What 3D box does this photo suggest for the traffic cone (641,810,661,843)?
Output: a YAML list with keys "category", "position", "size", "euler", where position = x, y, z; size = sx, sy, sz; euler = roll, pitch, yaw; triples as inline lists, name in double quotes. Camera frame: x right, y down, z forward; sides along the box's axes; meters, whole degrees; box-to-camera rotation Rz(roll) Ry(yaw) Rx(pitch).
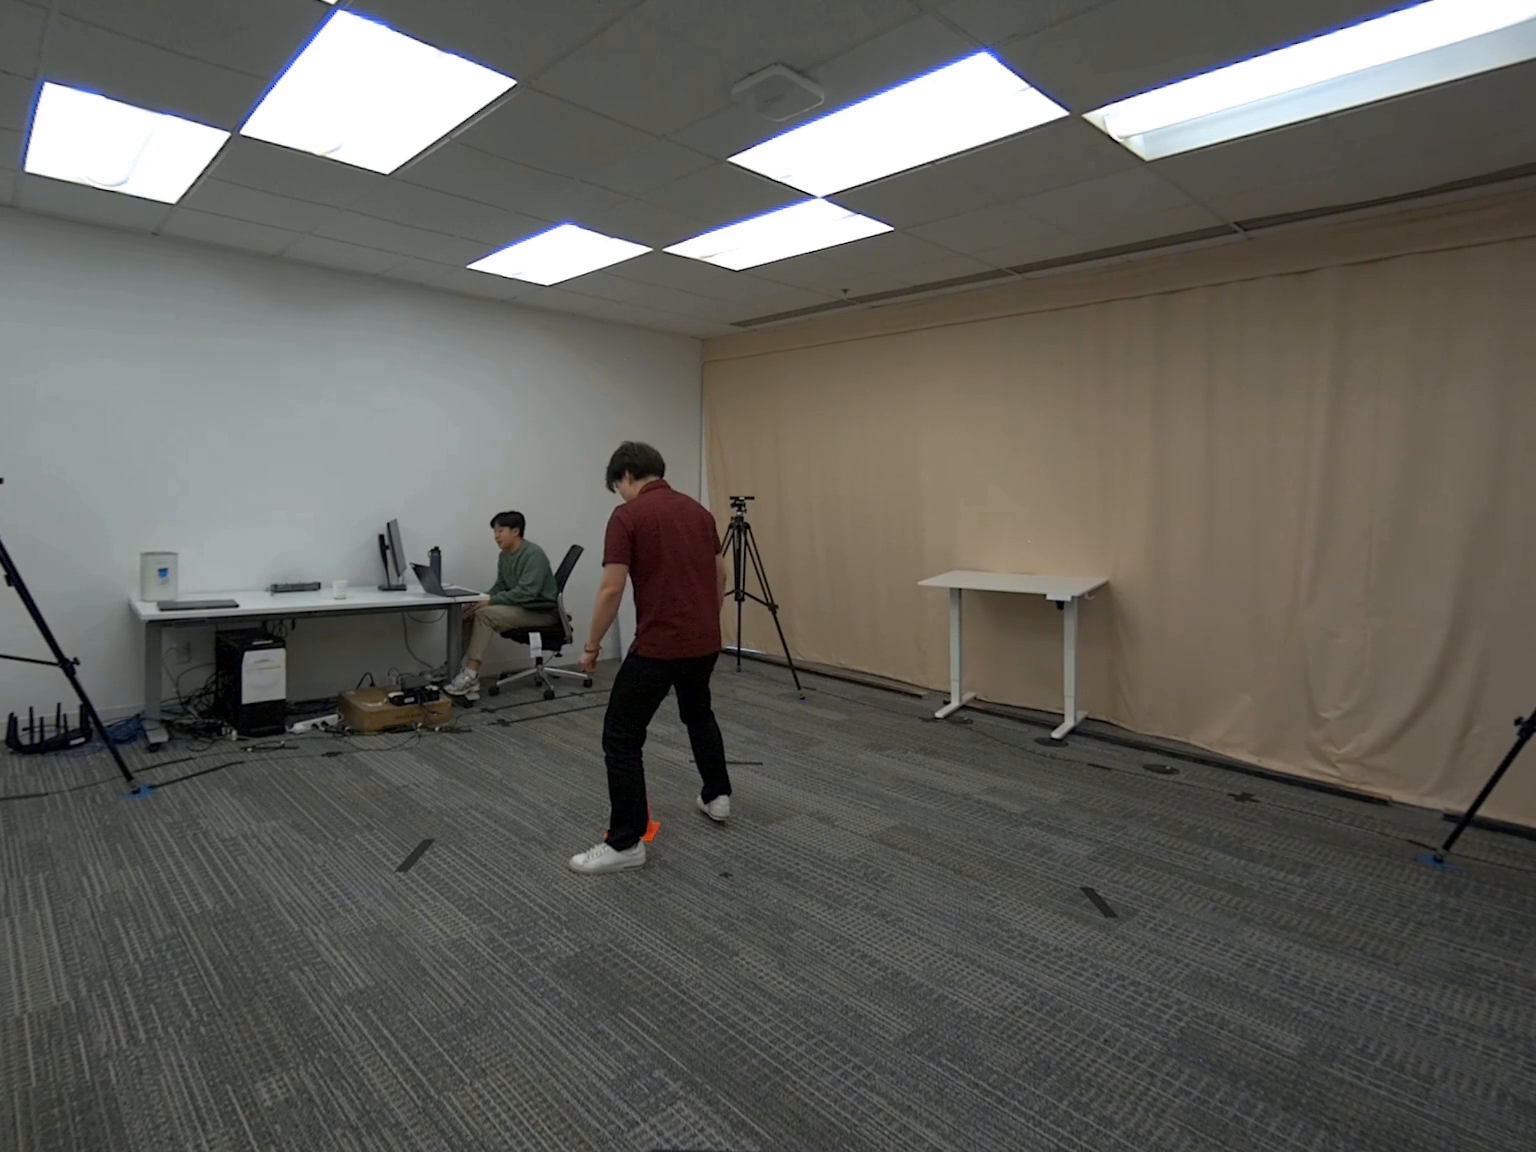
- category: "traffic cone"
  position: [-0.570, 0.880, 3.496]
  size: [0.206, 0.383, 0.203]
  euler: [1, 3, 5]
